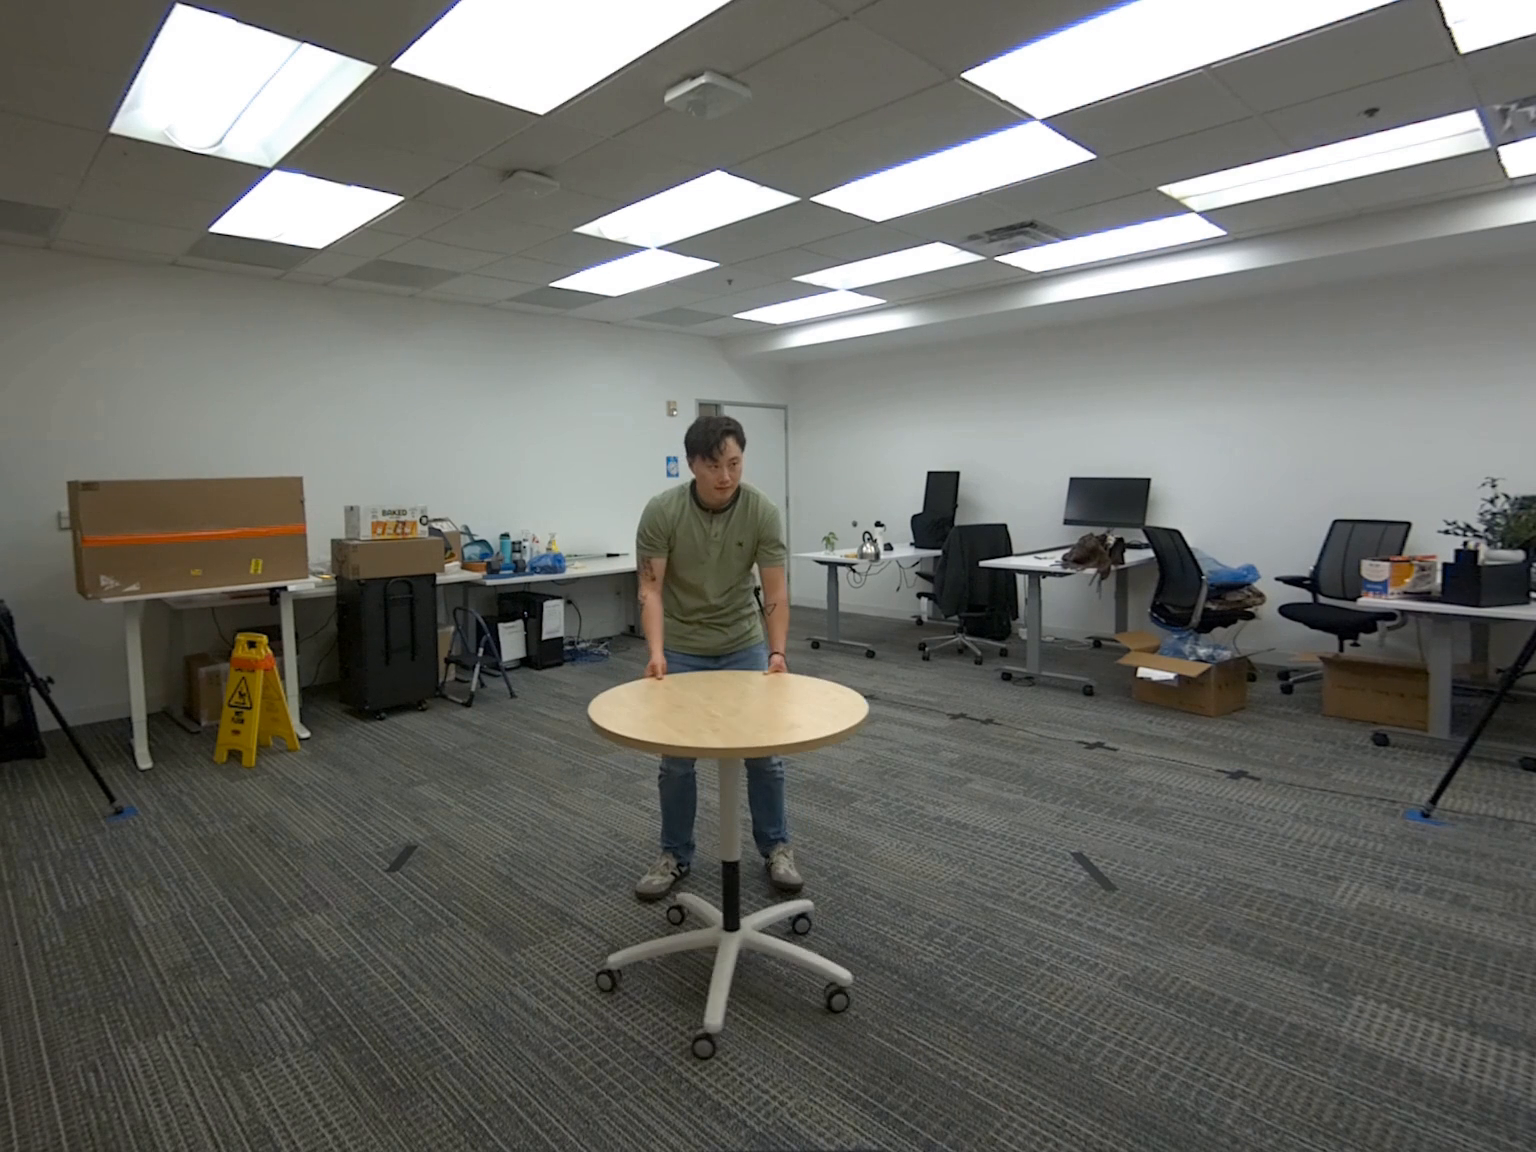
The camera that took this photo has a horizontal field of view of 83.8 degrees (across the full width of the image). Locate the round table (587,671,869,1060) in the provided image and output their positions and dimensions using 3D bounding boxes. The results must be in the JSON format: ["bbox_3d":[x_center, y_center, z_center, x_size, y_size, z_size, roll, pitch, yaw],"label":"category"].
[{"bbox_3d":[-0.103,0.744,2.387,0.763,0.790,0.768,-1,6,-2],"label":"round table"}]
